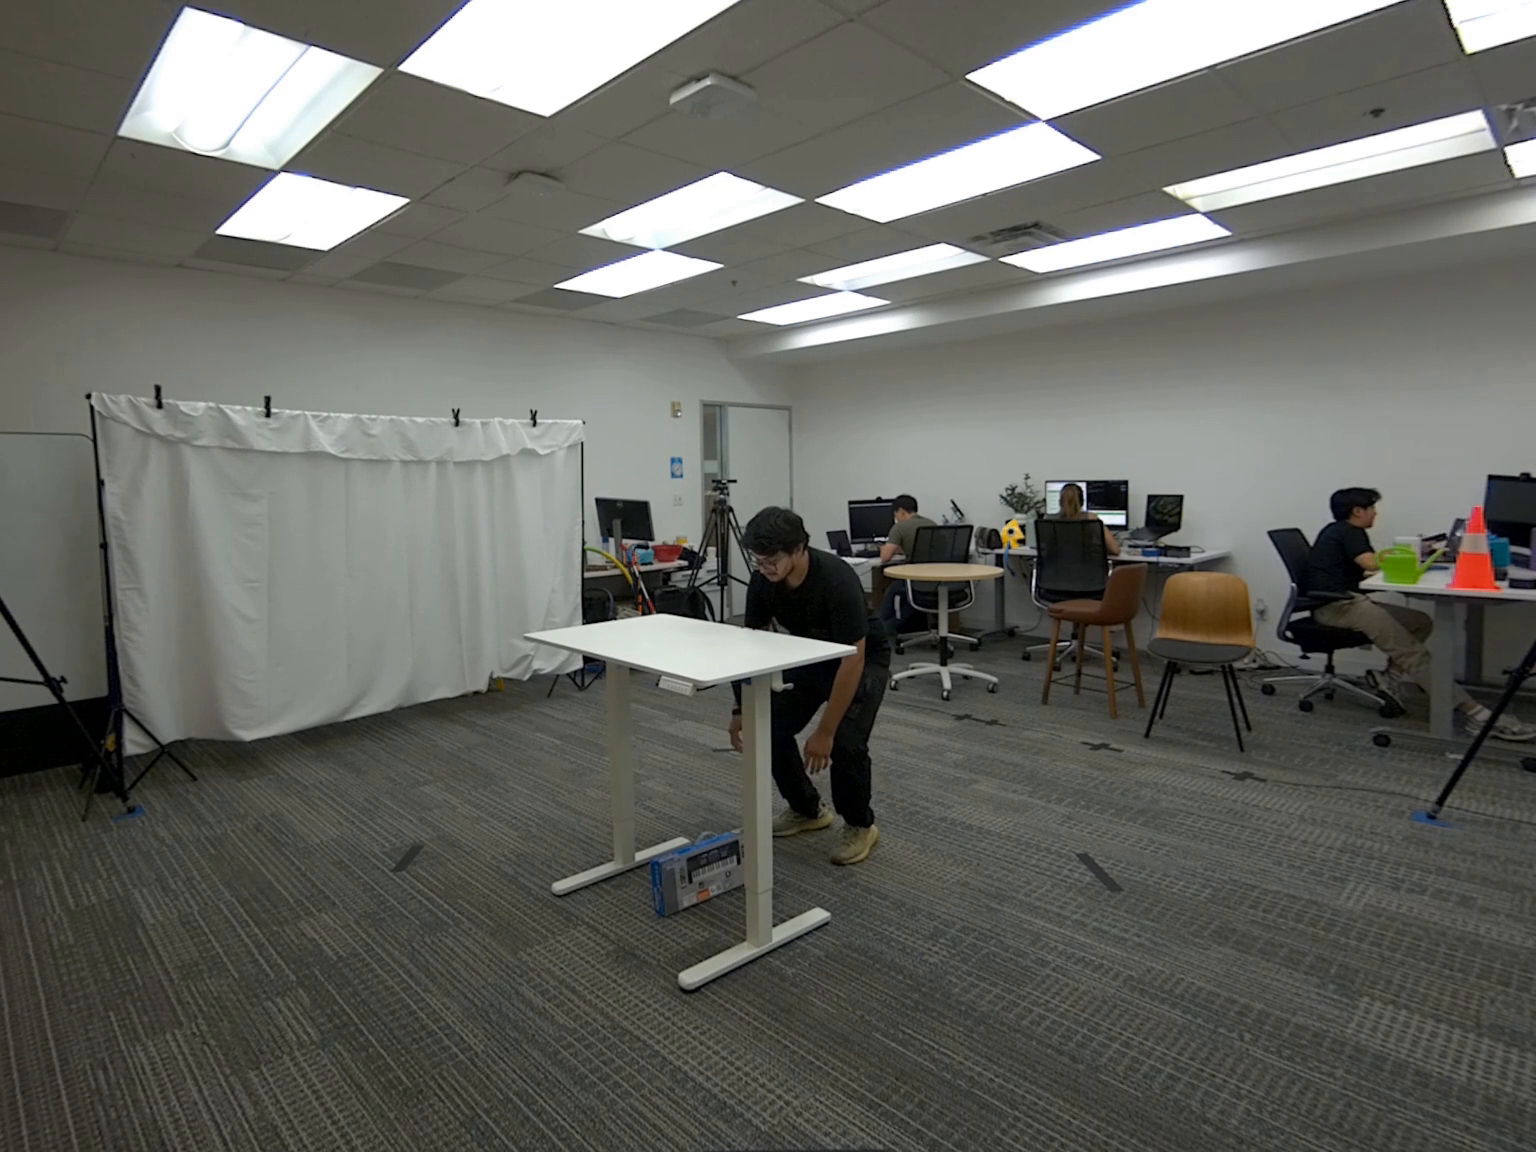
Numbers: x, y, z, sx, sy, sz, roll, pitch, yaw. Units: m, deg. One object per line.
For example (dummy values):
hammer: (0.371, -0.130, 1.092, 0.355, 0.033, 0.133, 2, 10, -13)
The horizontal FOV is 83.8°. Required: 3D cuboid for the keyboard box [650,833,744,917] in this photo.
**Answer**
keyboard box: (-0.192, 0.987, 2.889, 0.425, 0.176, 0.060, -6, -1, -40)
